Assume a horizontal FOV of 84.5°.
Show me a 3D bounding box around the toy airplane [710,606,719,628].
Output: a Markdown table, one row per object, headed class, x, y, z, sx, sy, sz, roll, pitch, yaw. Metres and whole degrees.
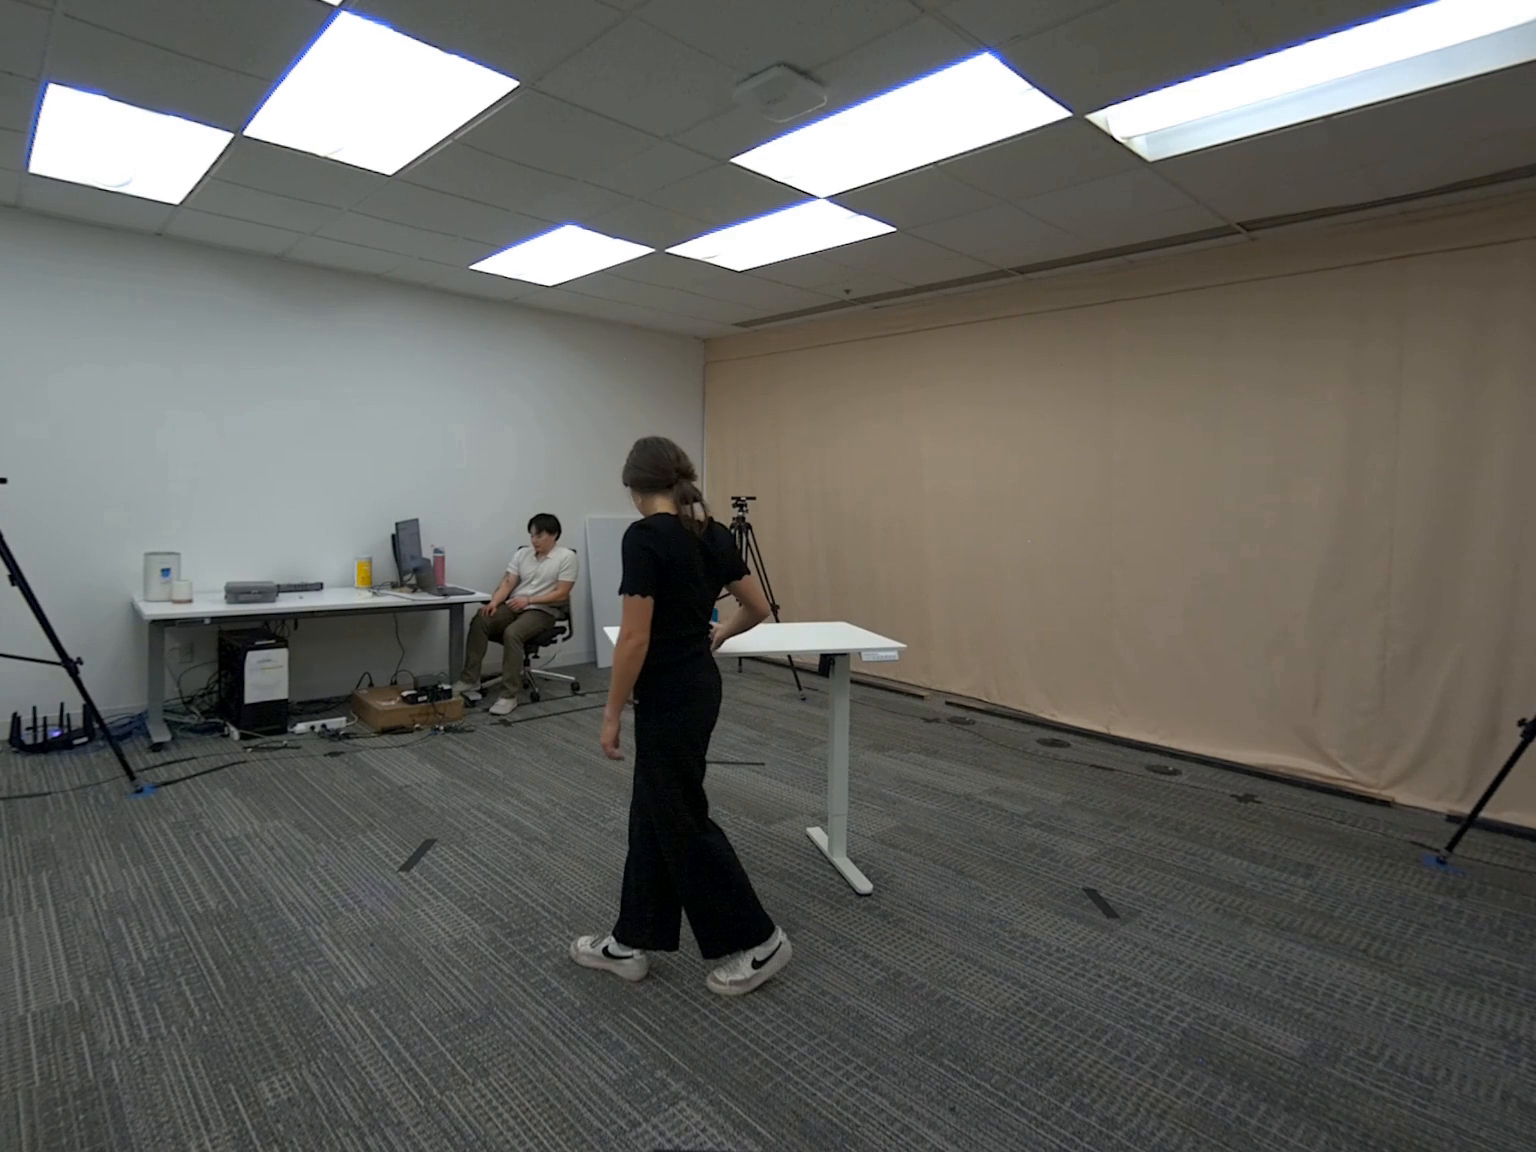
| class | x | y | z | sx | sy | sz | roll | pitch | yaw |
| --- | --- | --- | --- | --- | --- | --- | --- | --- | --- |
| toy airplane | -0.285 | 0.160 | 2.863 | 0.259 | 0.156 | 0.252 | -5 | 2 | -2 |
